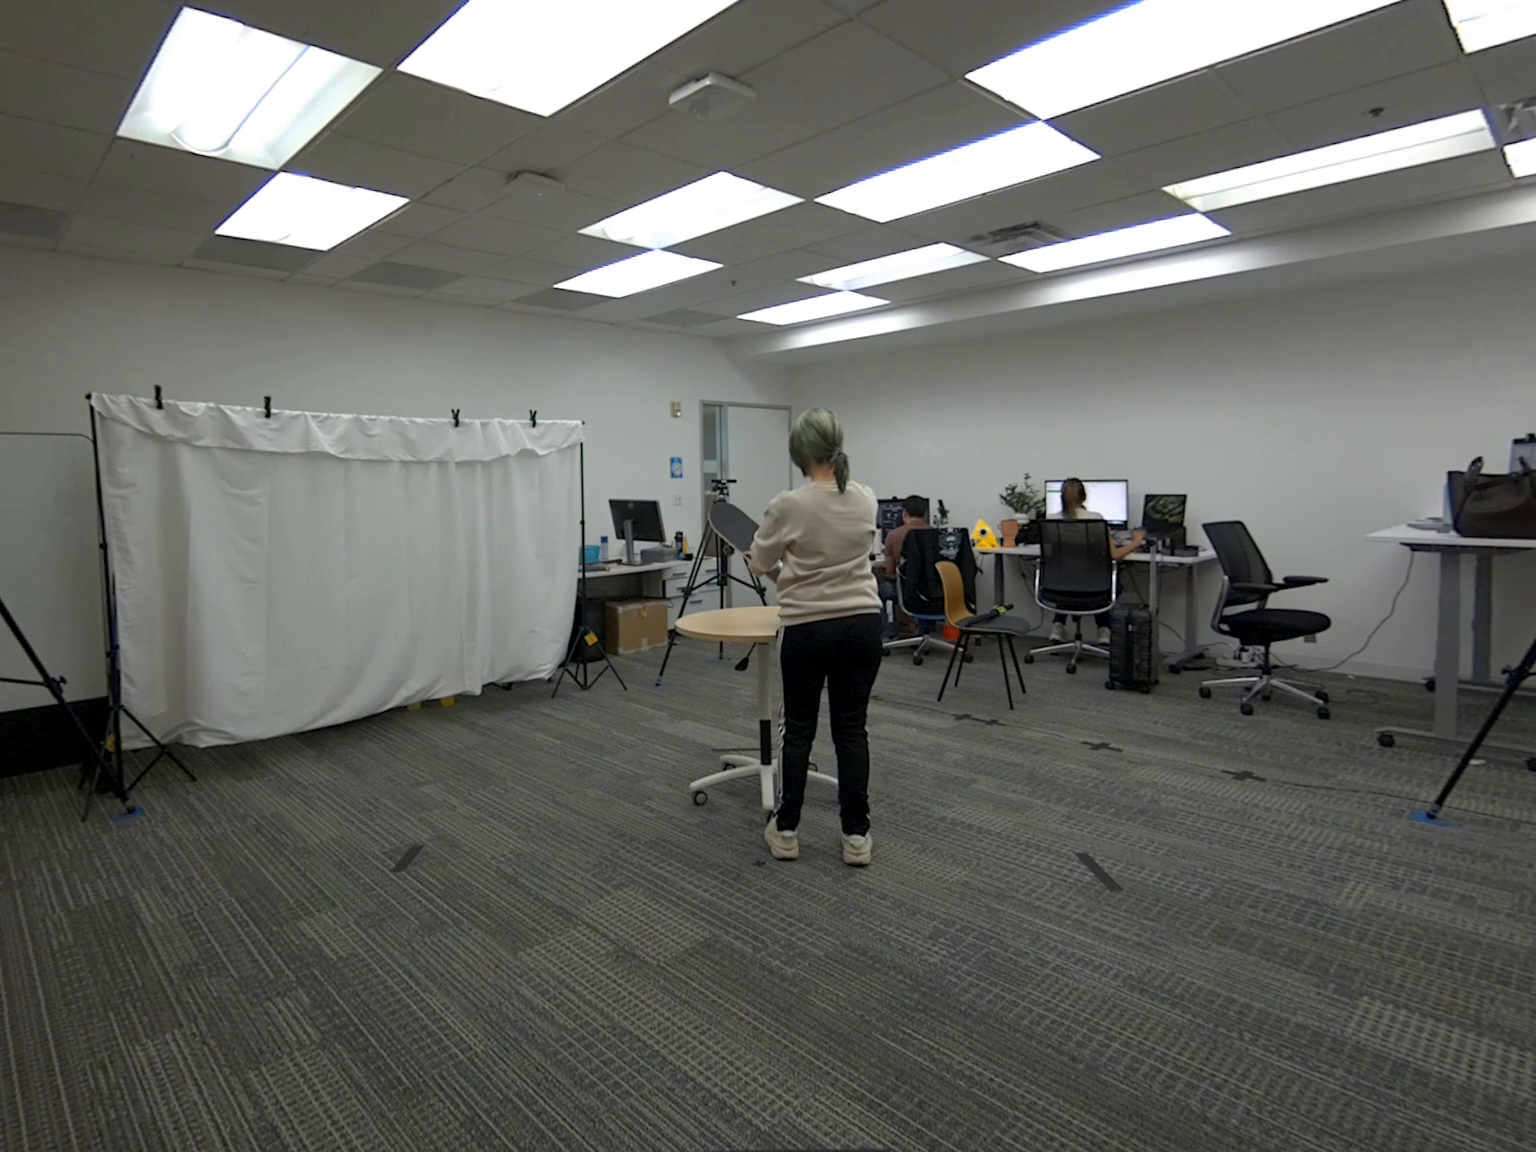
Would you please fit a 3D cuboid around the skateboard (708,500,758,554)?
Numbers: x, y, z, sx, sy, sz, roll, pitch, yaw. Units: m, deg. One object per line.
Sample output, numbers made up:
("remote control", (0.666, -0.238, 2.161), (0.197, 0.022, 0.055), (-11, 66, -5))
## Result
("skateboard", (0.030, -0.032, 3.642), (0.191, 0.108, 0.809), (-26, 59, -38))
